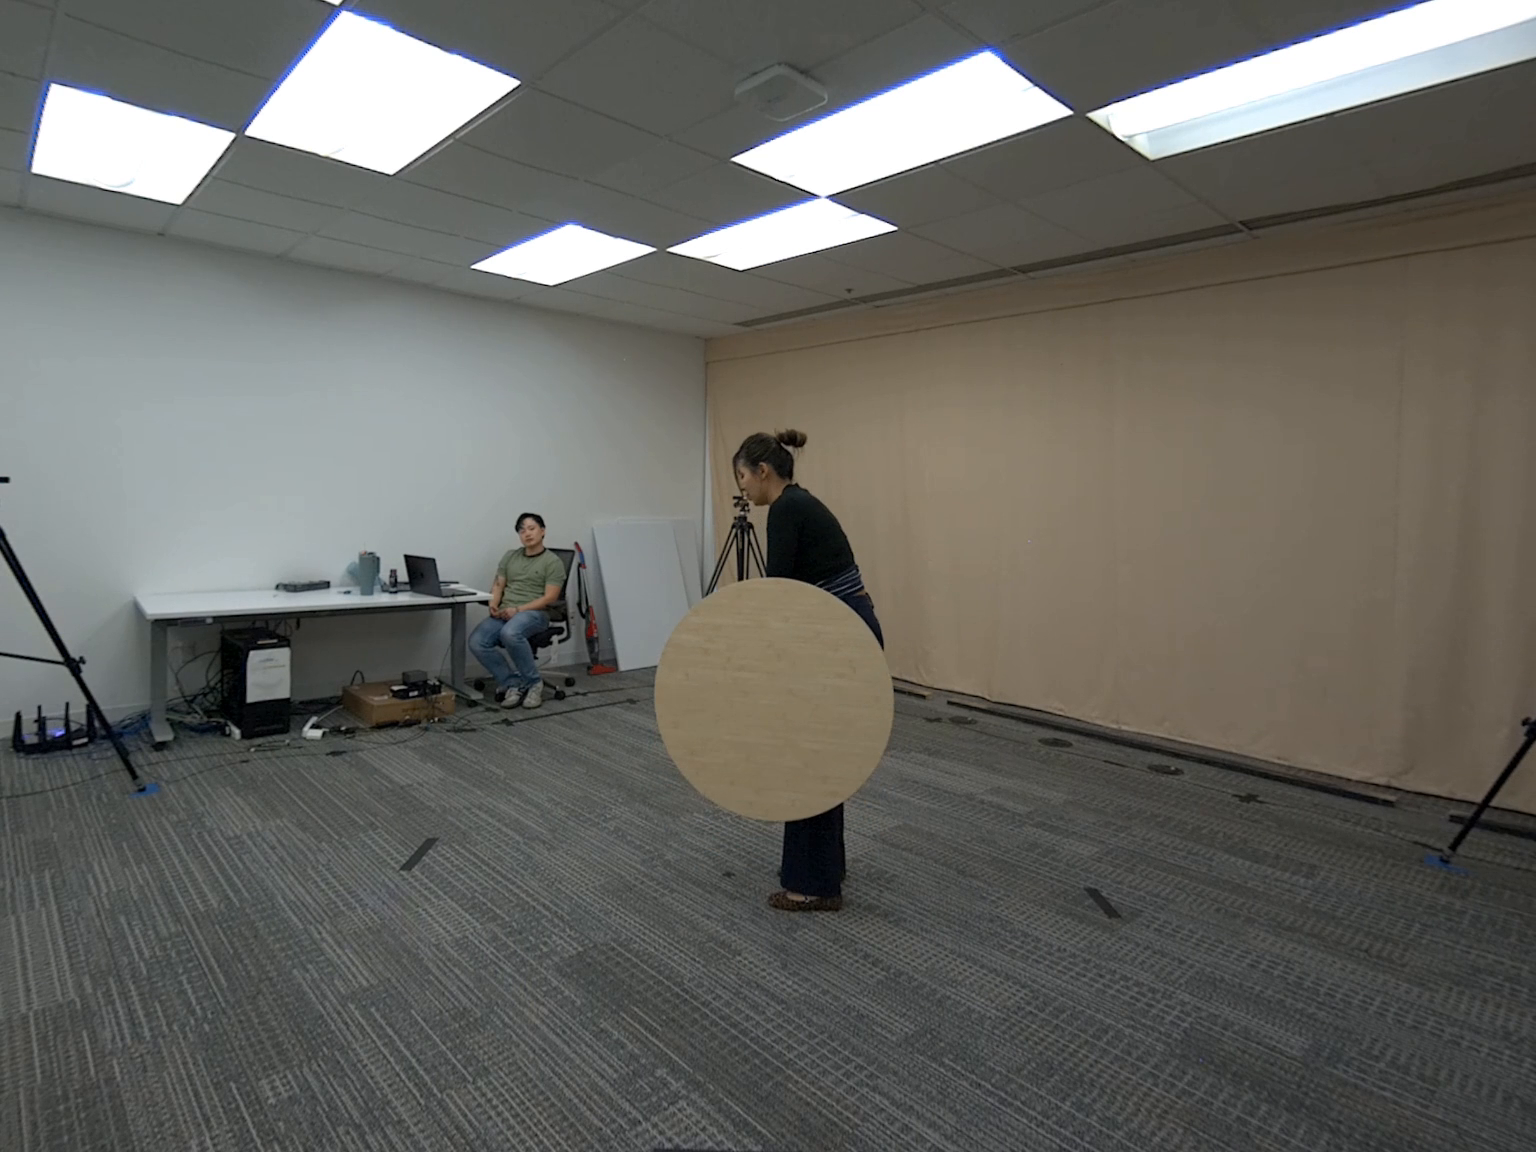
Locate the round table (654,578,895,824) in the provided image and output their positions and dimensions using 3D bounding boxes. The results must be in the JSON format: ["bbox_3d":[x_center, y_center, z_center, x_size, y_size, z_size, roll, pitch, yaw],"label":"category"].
[{"bbox_3d":[0.067,0.392,3.045,0.770,0.764,0.787,2,1,9],"label":"round table"}]
